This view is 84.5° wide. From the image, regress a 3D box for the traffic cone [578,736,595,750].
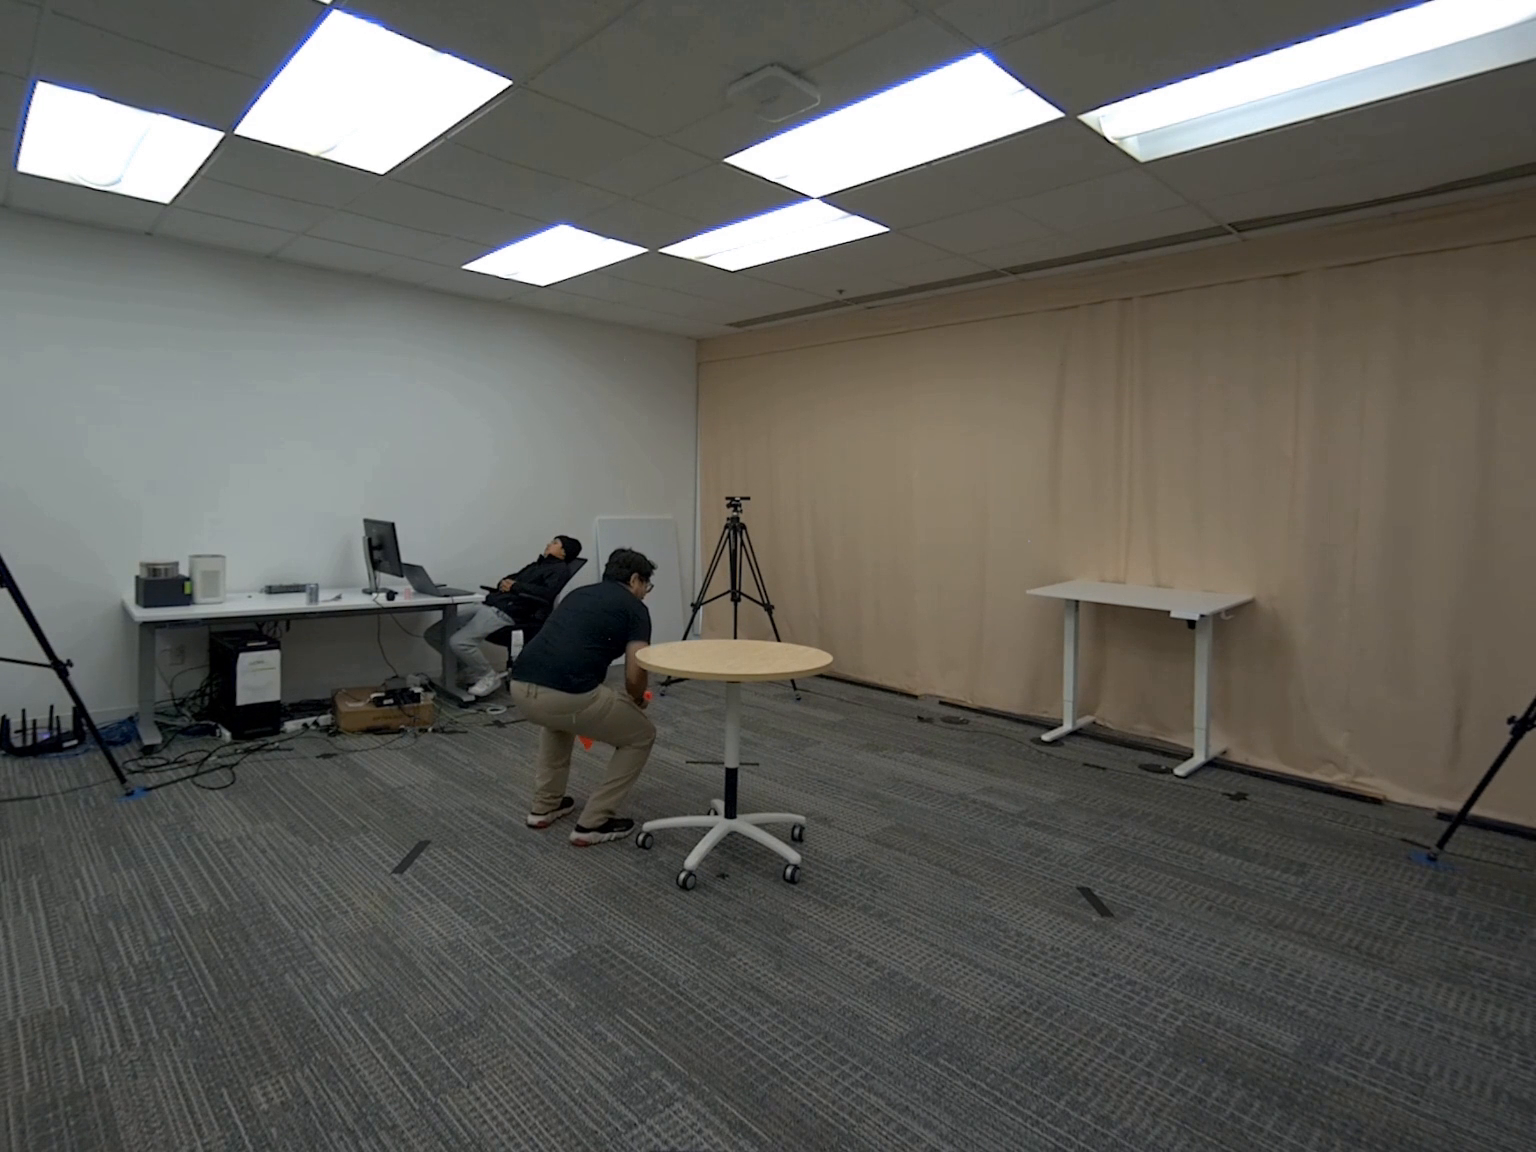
[{"bbox_3d":[-0.703,0.621,3.847,0.387,0.201,0.205,-22,22,22],"label":"traffic cone"}]
